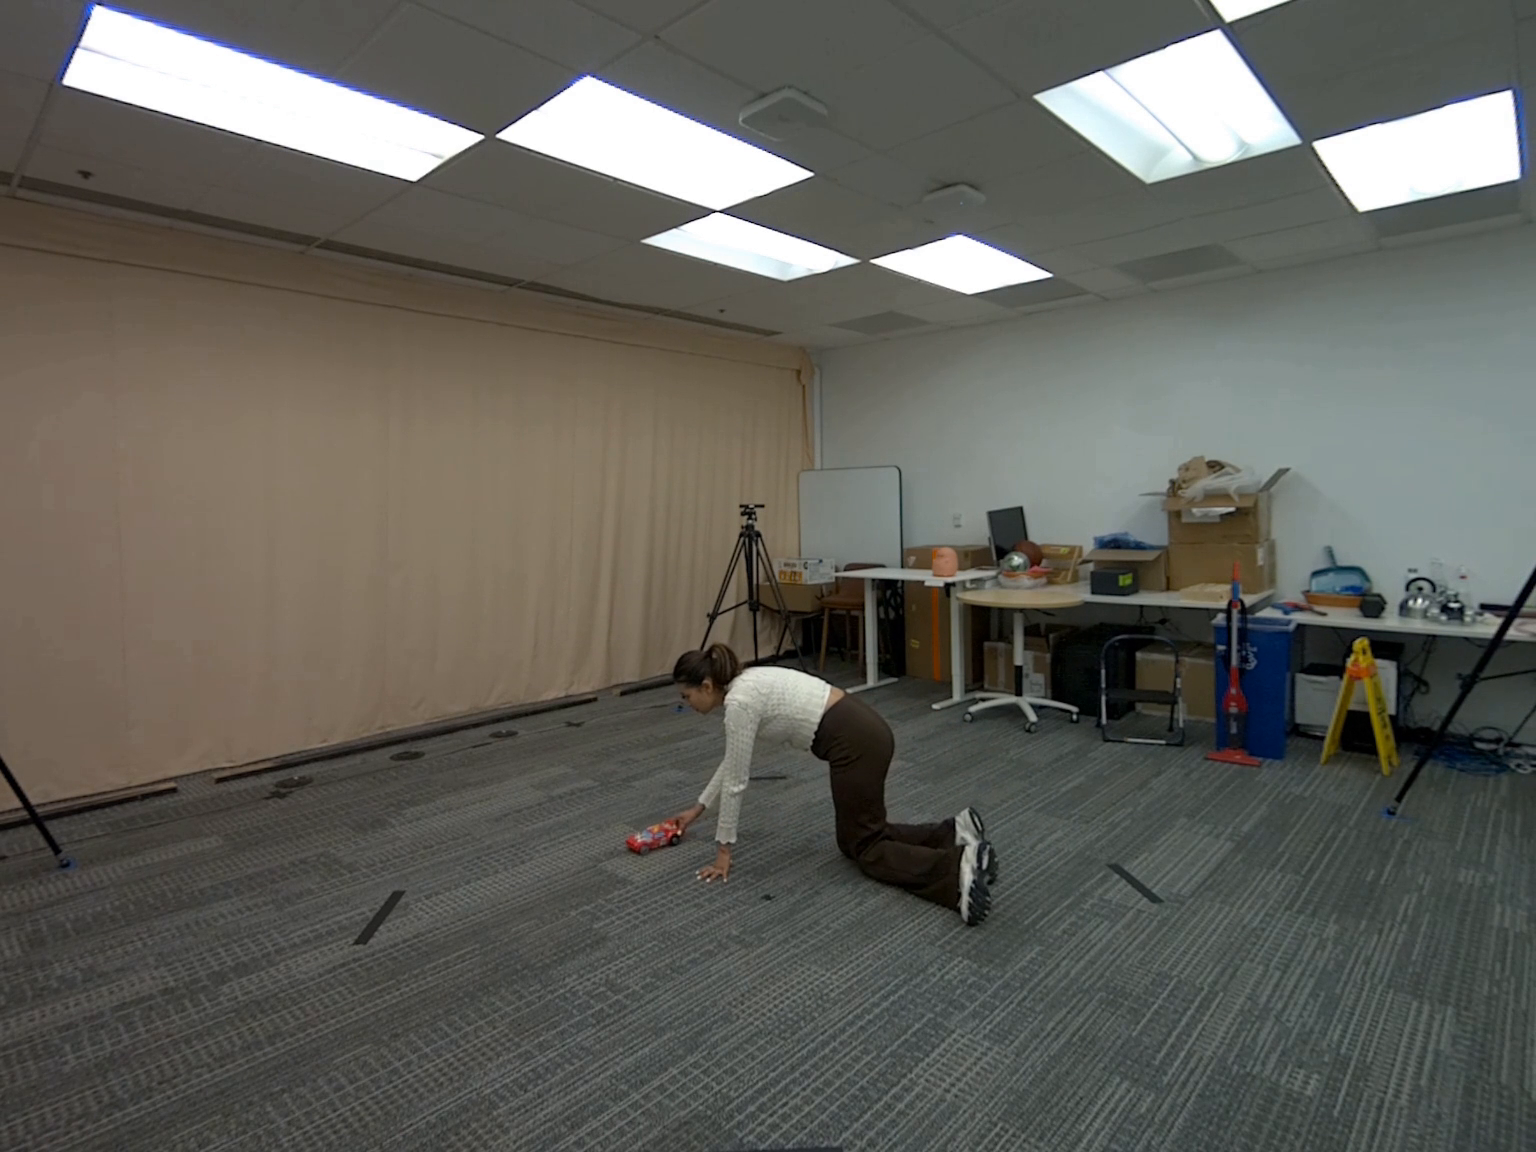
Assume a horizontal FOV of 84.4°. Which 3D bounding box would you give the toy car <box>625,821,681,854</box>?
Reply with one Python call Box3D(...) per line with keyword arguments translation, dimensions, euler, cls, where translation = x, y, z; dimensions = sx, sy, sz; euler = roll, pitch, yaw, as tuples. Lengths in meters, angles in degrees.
Box3D(translation=(-0.456, 1.081, 3.474), dimensions=(0.249, 0.082, 0.134), euler=(-18, 12, -33), cls="toy car")
